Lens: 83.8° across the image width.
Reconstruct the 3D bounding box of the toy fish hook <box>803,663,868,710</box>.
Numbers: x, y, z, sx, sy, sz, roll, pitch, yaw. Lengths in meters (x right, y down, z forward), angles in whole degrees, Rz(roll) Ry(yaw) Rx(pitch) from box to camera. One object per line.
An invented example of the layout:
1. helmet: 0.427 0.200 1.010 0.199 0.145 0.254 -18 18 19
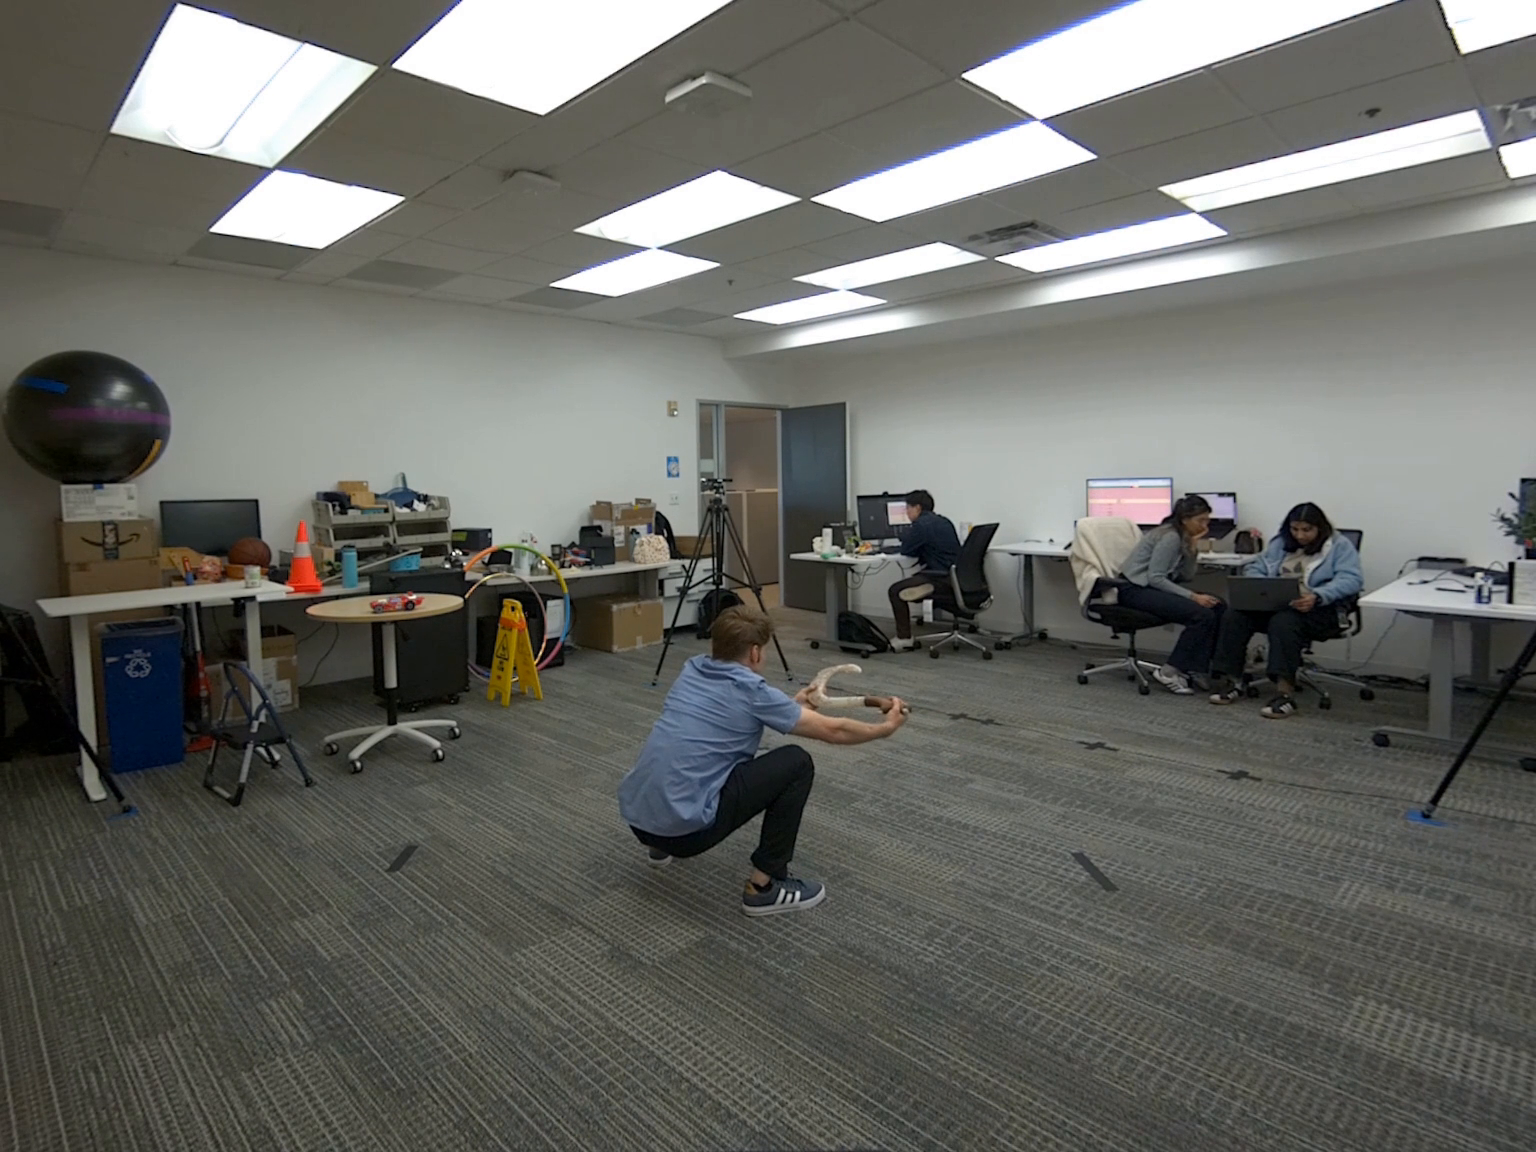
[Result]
1. toy fish hook: 0.346 0.440 3.273 0.521 0.047 0.225 2 48 46
